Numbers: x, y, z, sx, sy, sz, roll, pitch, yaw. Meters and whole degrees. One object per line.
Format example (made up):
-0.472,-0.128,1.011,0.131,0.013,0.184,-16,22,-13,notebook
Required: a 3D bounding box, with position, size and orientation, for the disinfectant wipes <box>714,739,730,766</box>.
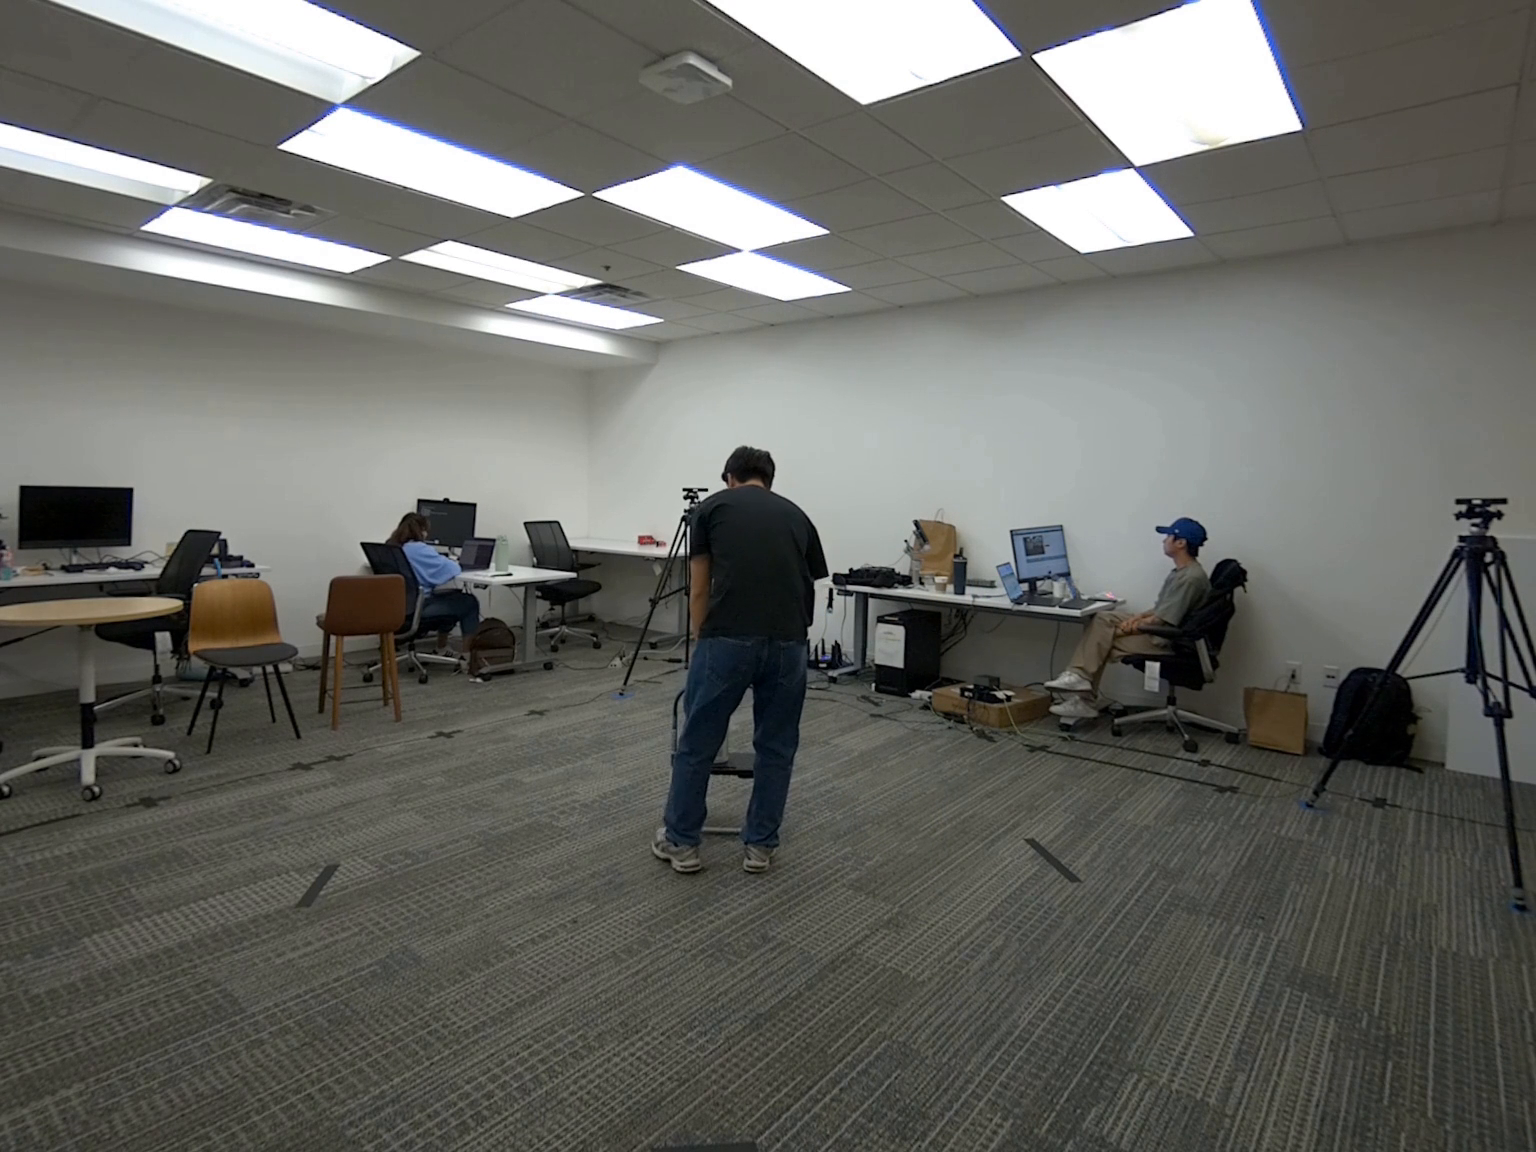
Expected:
-0.222,0.657,3.543,0.118,0.217,0.118,2,1,-2,disinfectant wipes
